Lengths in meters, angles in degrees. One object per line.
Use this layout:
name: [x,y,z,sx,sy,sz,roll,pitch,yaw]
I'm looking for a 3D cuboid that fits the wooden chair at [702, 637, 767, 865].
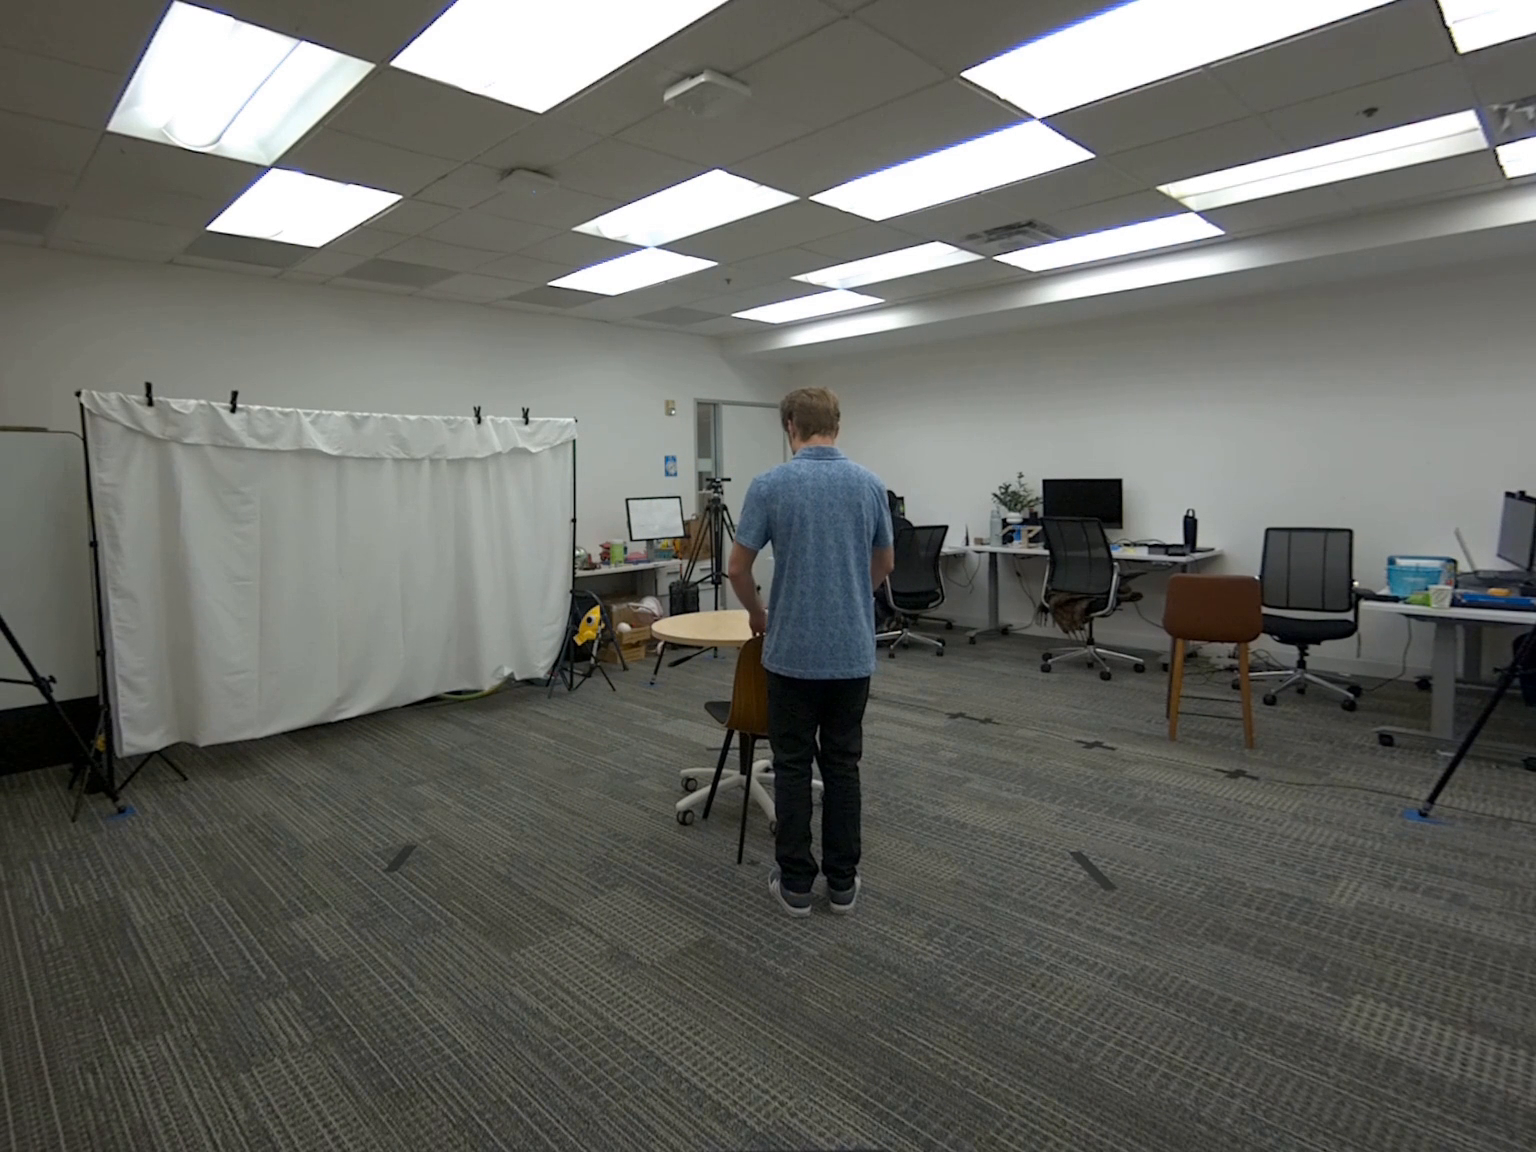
wooden chair: [0.016,0.583,3.342,0.470,0.871,0.536,-3,9,-19]
